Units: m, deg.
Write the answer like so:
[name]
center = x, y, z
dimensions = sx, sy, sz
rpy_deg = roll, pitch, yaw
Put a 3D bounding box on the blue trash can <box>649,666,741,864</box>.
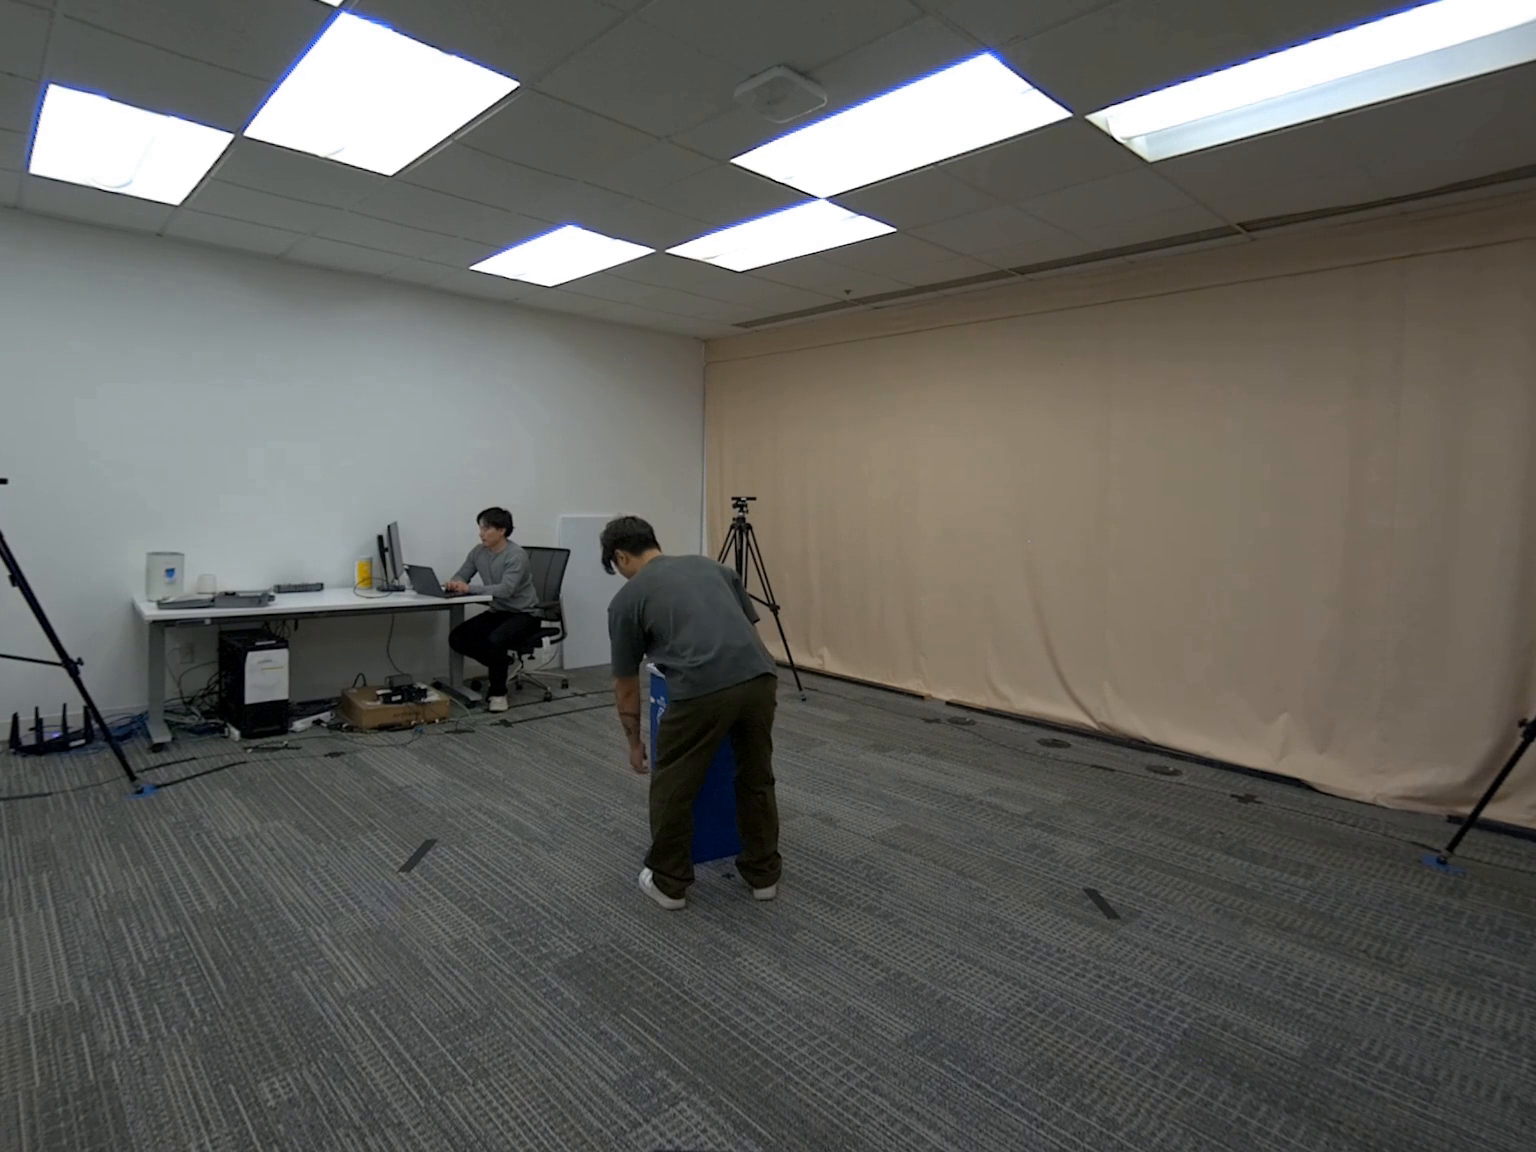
[blue trash can]
center = -0.260, 0.727, 3.368
dimensions = 0.366, 0.711, 0.387
rpy_deg = -2, 5, -34
